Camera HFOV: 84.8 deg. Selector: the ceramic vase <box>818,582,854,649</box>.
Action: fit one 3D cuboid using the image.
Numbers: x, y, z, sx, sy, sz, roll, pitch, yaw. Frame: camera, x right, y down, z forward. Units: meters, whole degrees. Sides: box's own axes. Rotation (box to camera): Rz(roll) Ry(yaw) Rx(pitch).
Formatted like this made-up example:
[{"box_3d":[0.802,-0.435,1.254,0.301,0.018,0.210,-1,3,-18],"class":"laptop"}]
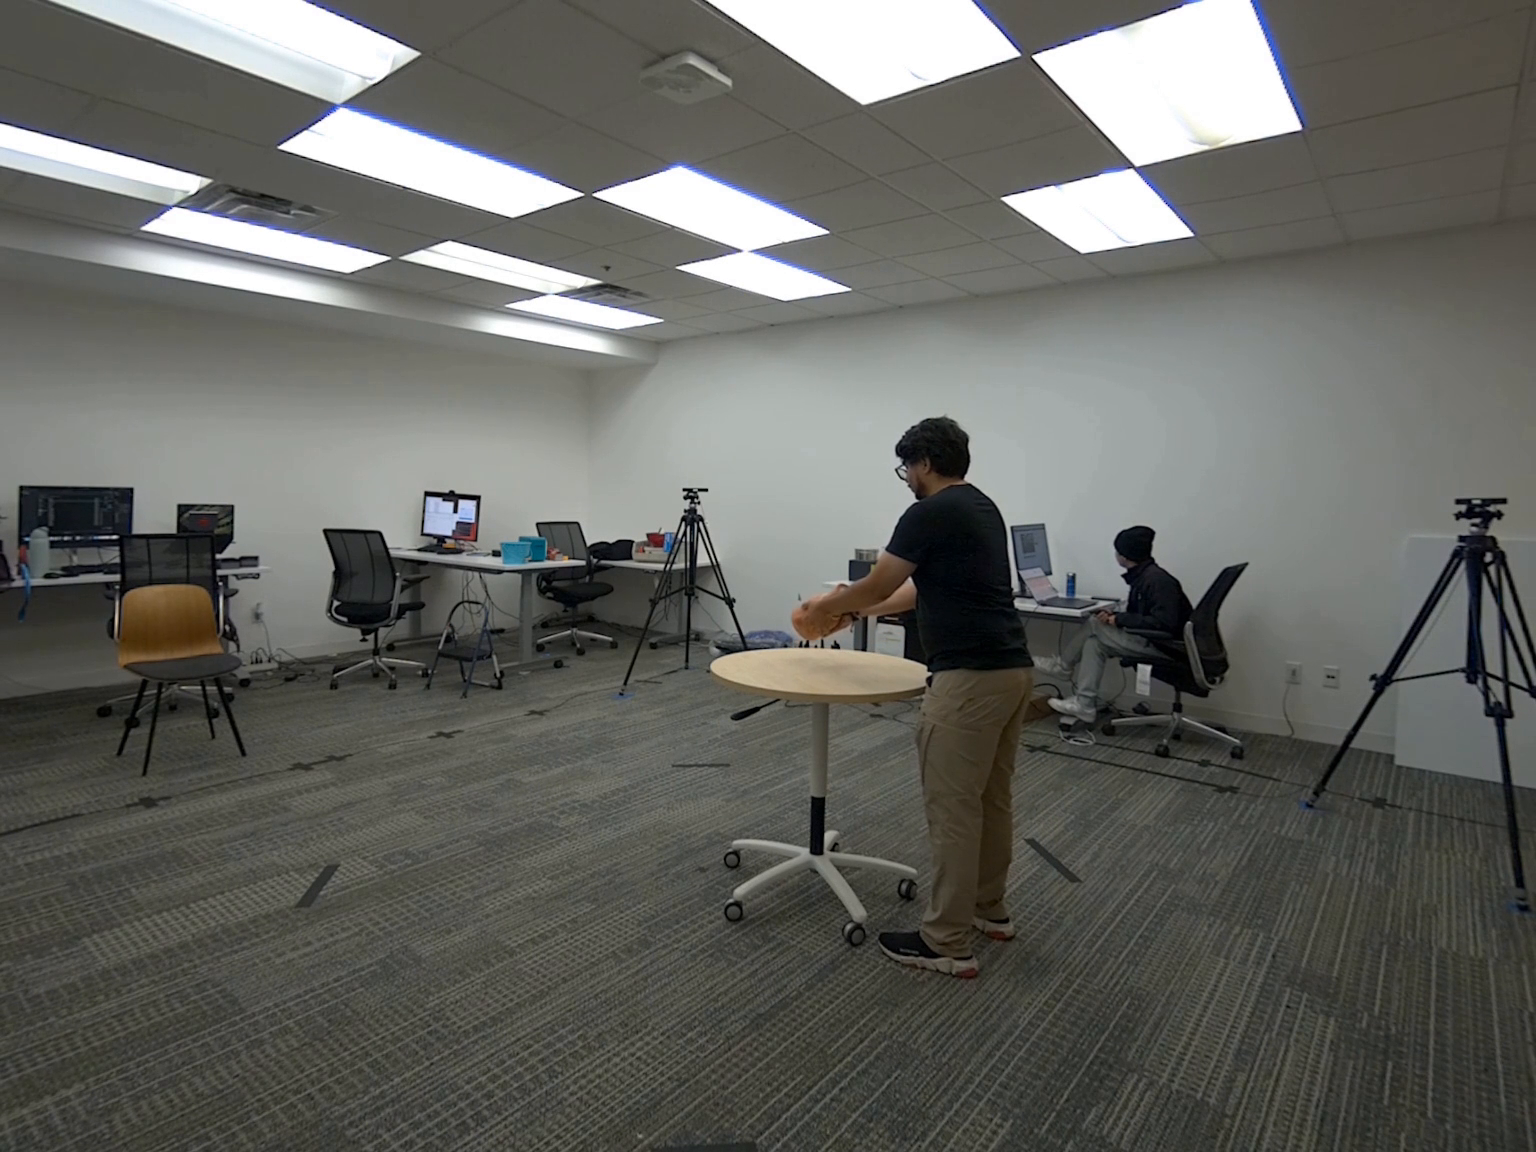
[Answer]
[{"box_3d":[0.190,0.113,2.953,0.221,0.132,0.160,-38,16,40],"class":"ceramic vase"}]
